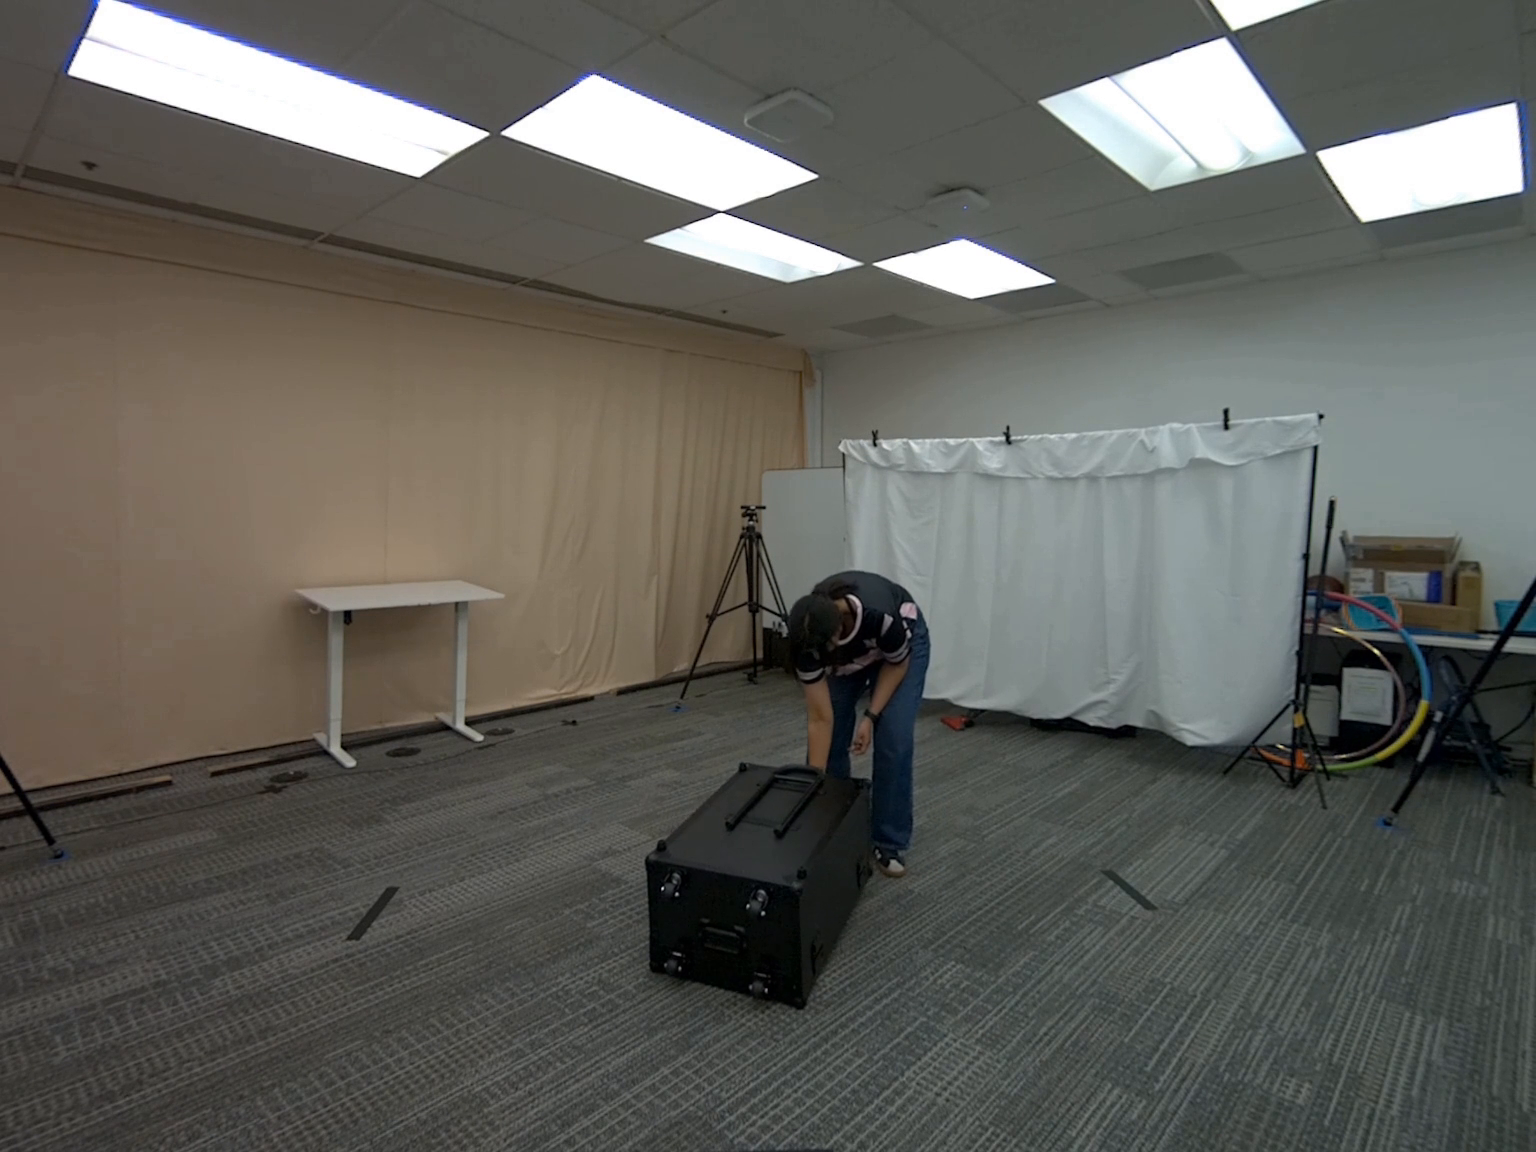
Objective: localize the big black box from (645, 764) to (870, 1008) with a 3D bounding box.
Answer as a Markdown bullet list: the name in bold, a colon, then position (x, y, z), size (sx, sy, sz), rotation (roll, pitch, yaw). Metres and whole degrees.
- **big black box**: position (-0.009, 0.942, 2.712), size (0.533, 0.394, 0.846), rotation (2, 10, 22)
